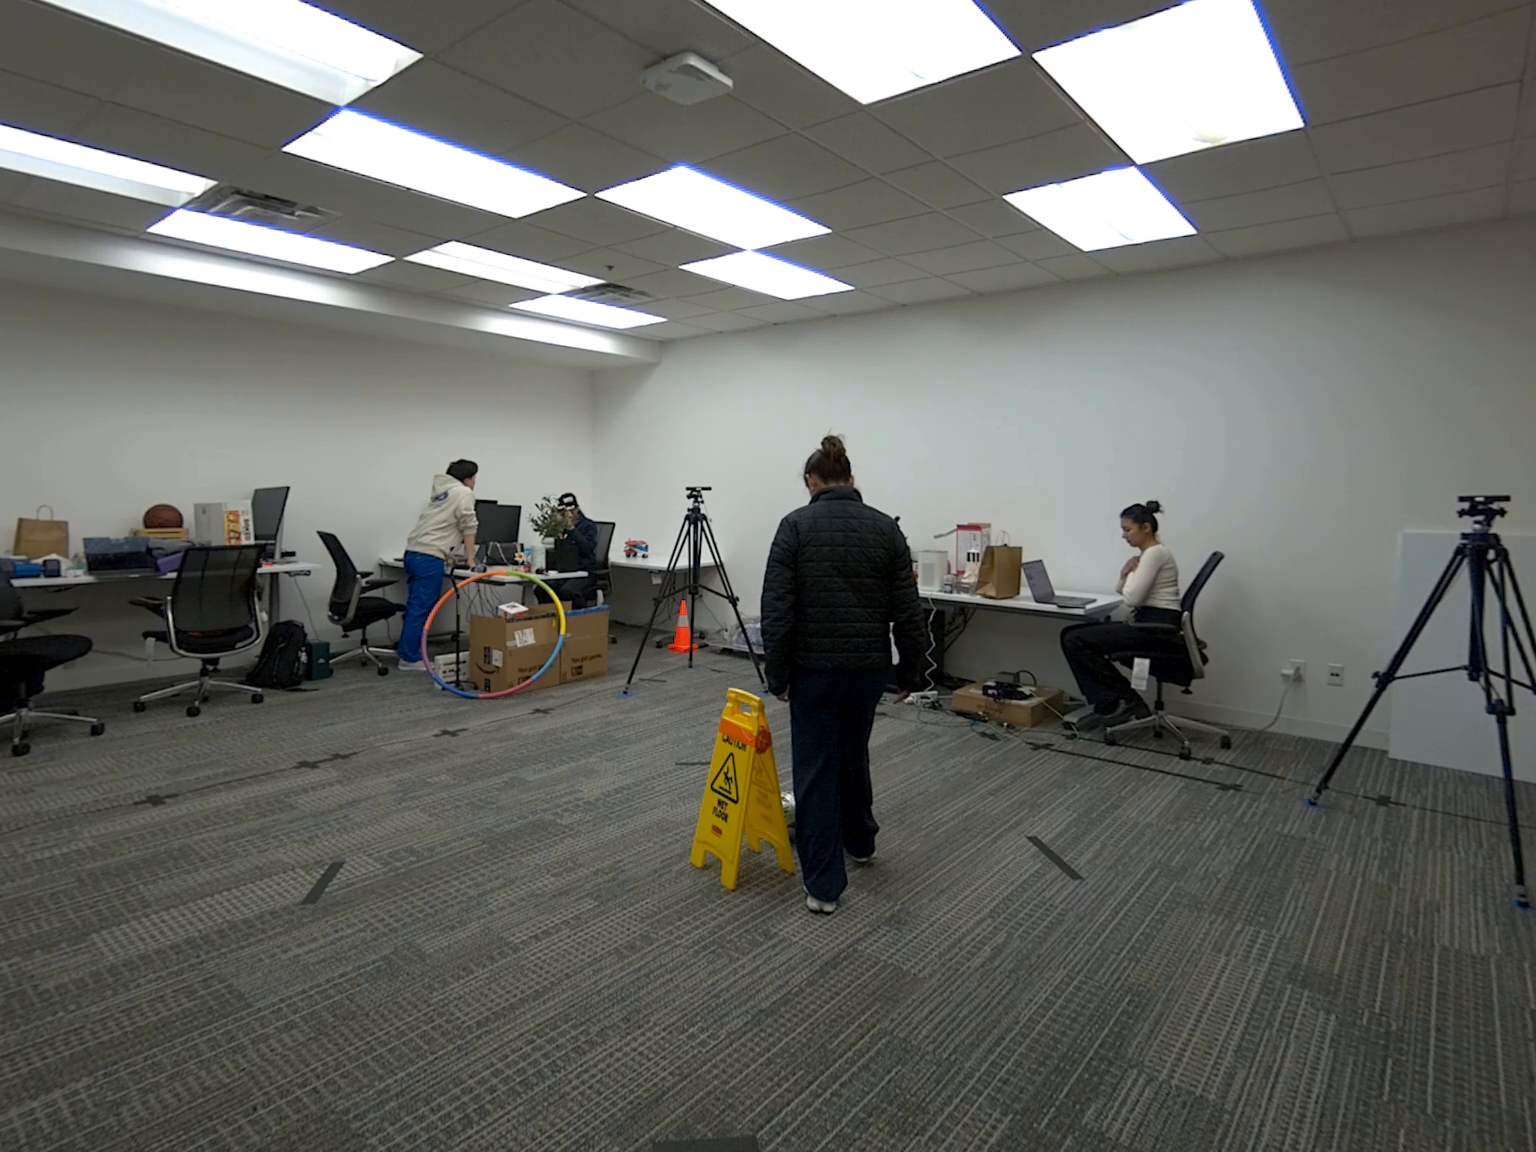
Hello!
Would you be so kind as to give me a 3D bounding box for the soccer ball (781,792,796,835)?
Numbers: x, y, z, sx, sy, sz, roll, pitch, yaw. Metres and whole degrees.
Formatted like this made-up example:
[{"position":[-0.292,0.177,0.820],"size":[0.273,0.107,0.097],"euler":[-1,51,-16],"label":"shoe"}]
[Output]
[{"position":[0.081,0.941,3.375],"size":[0.187,0.187,0.188],"euler":[1,4,-2],"label":"soccer ball"}]
